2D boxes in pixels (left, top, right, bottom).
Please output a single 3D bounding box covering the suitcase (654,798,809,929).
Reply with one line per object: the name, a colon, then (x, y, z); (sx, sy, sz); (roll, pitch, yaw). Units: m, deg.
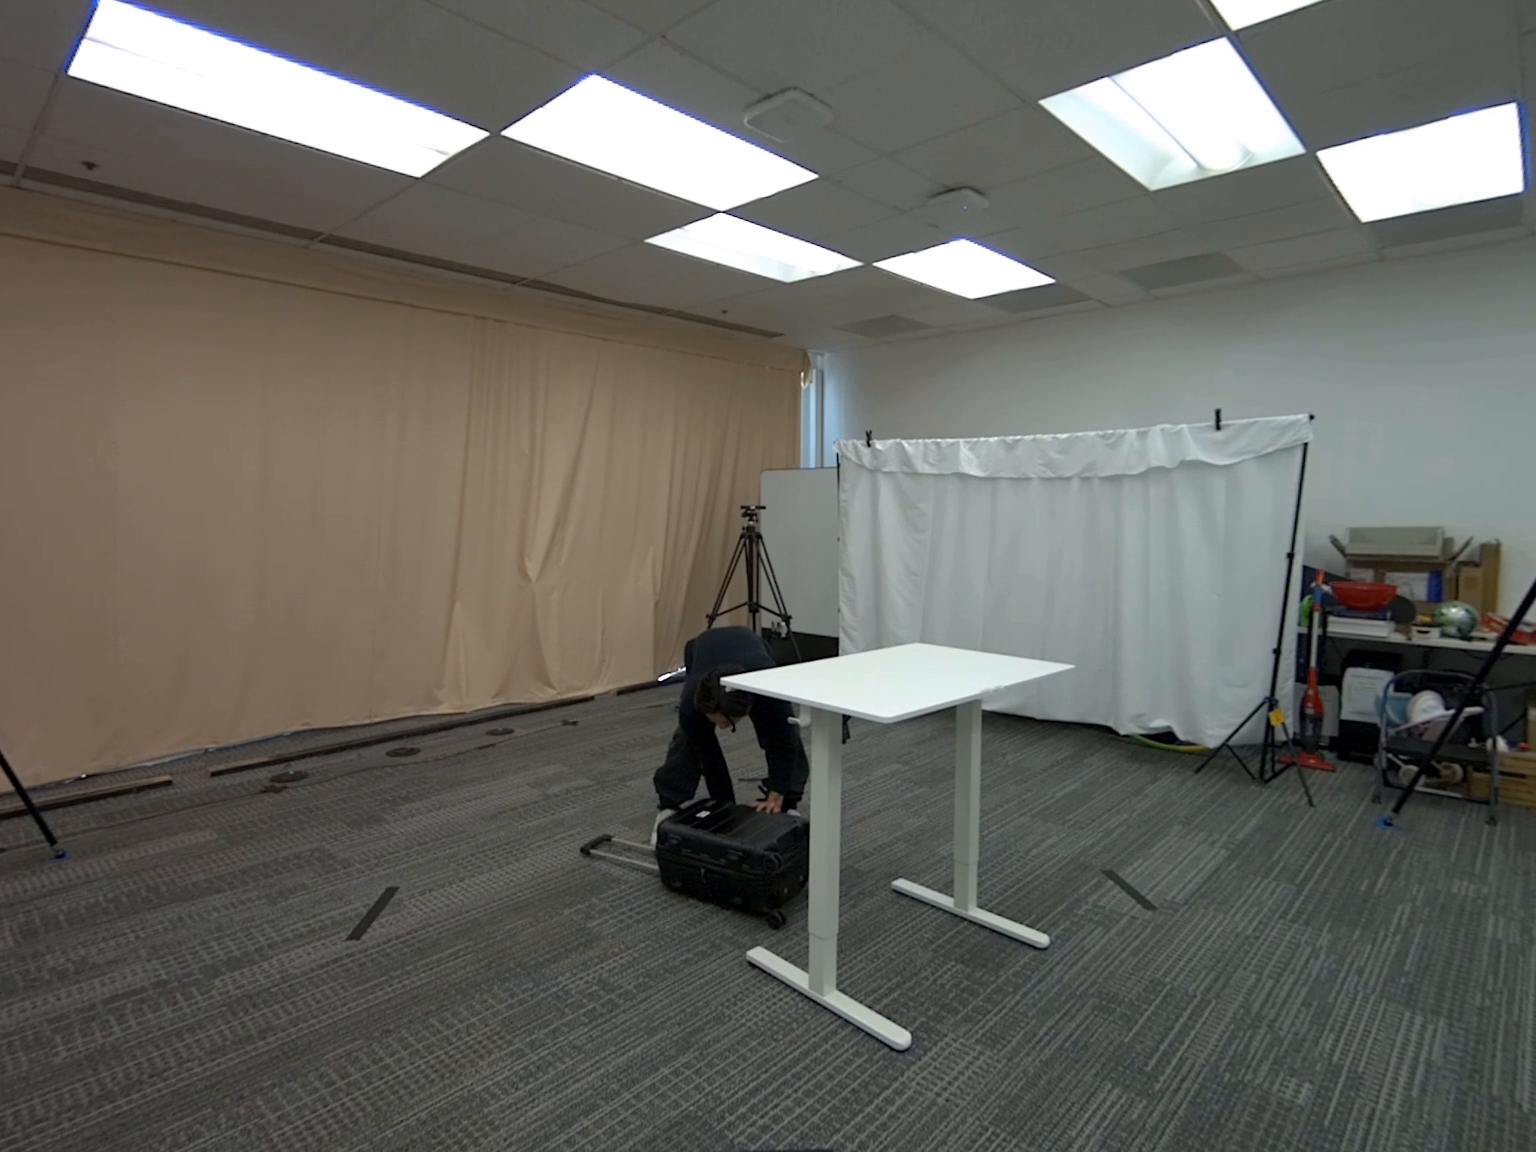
suitcase: (-0.285, 0.980, 3.159); (1.009, 0.256, 0.374); (4, 9, 34)
